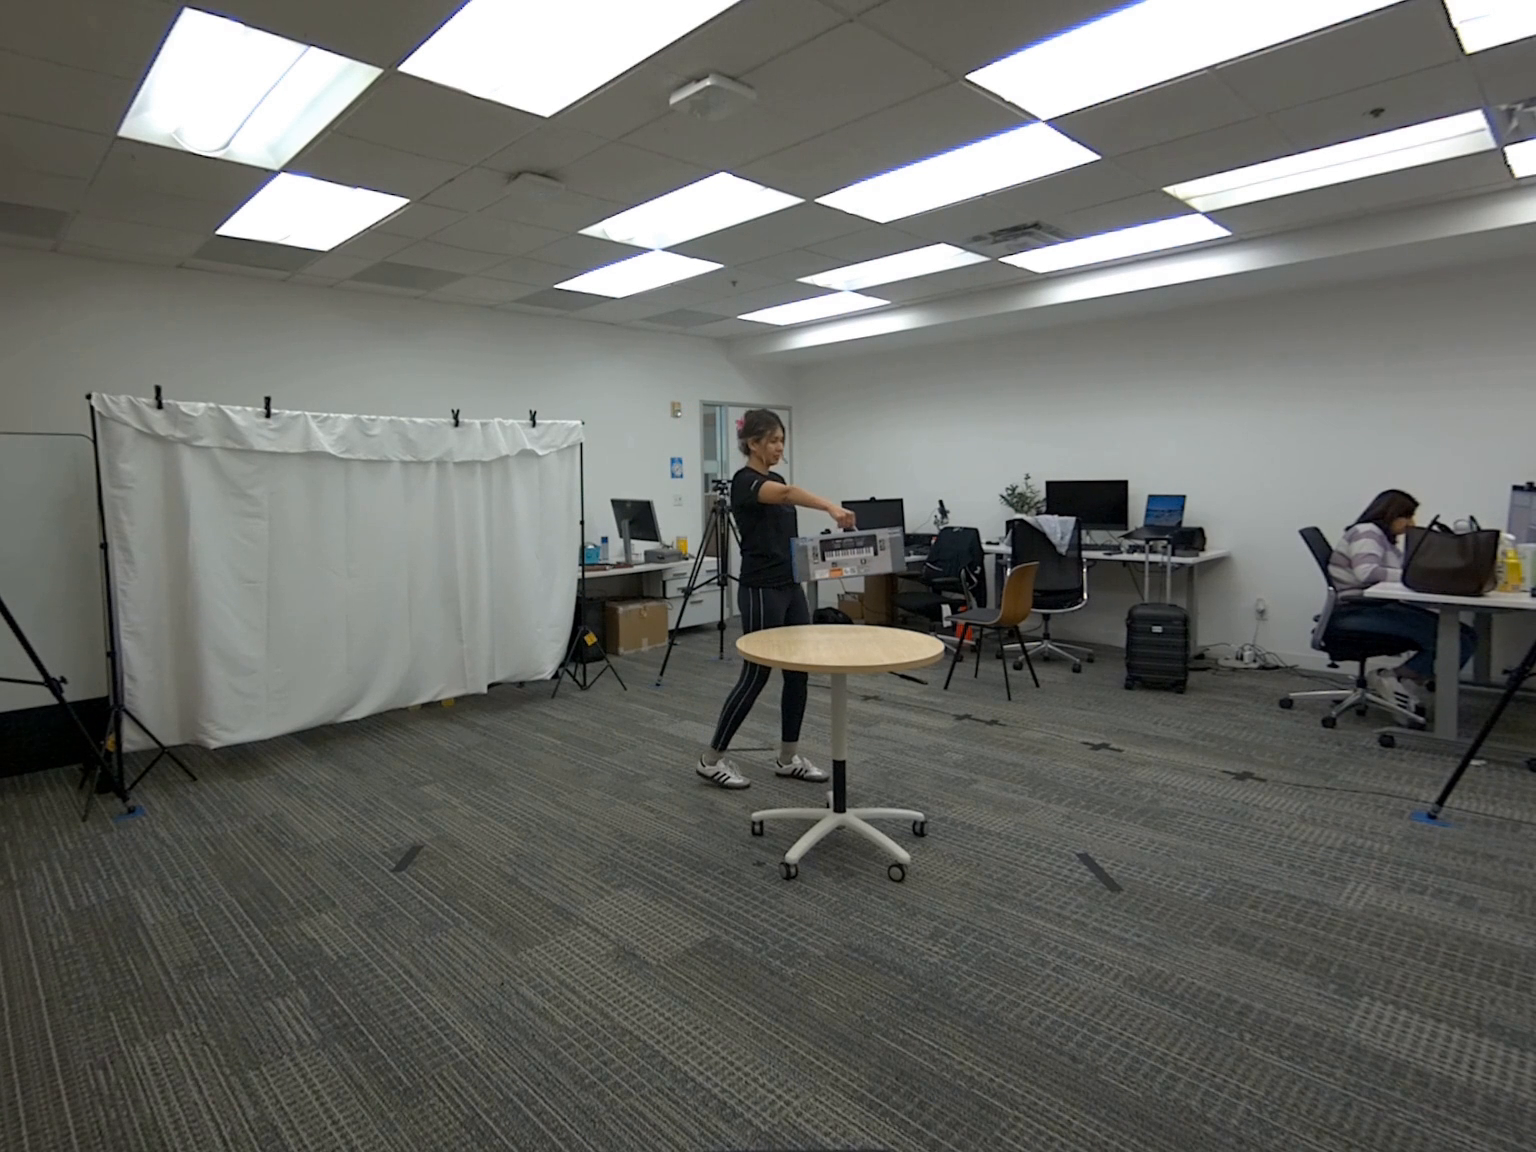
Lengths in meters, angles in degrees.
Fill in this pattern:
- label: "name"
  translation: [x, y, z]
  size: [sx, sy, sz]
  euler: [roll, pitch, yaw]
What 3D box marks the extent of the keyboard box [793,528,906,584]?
- label: "keyboard box"
  translation: [0.316, -0.080, 3.338]
  size: [0.435, 0.176, 0.059]
  euler: [-6, 0, -5]
